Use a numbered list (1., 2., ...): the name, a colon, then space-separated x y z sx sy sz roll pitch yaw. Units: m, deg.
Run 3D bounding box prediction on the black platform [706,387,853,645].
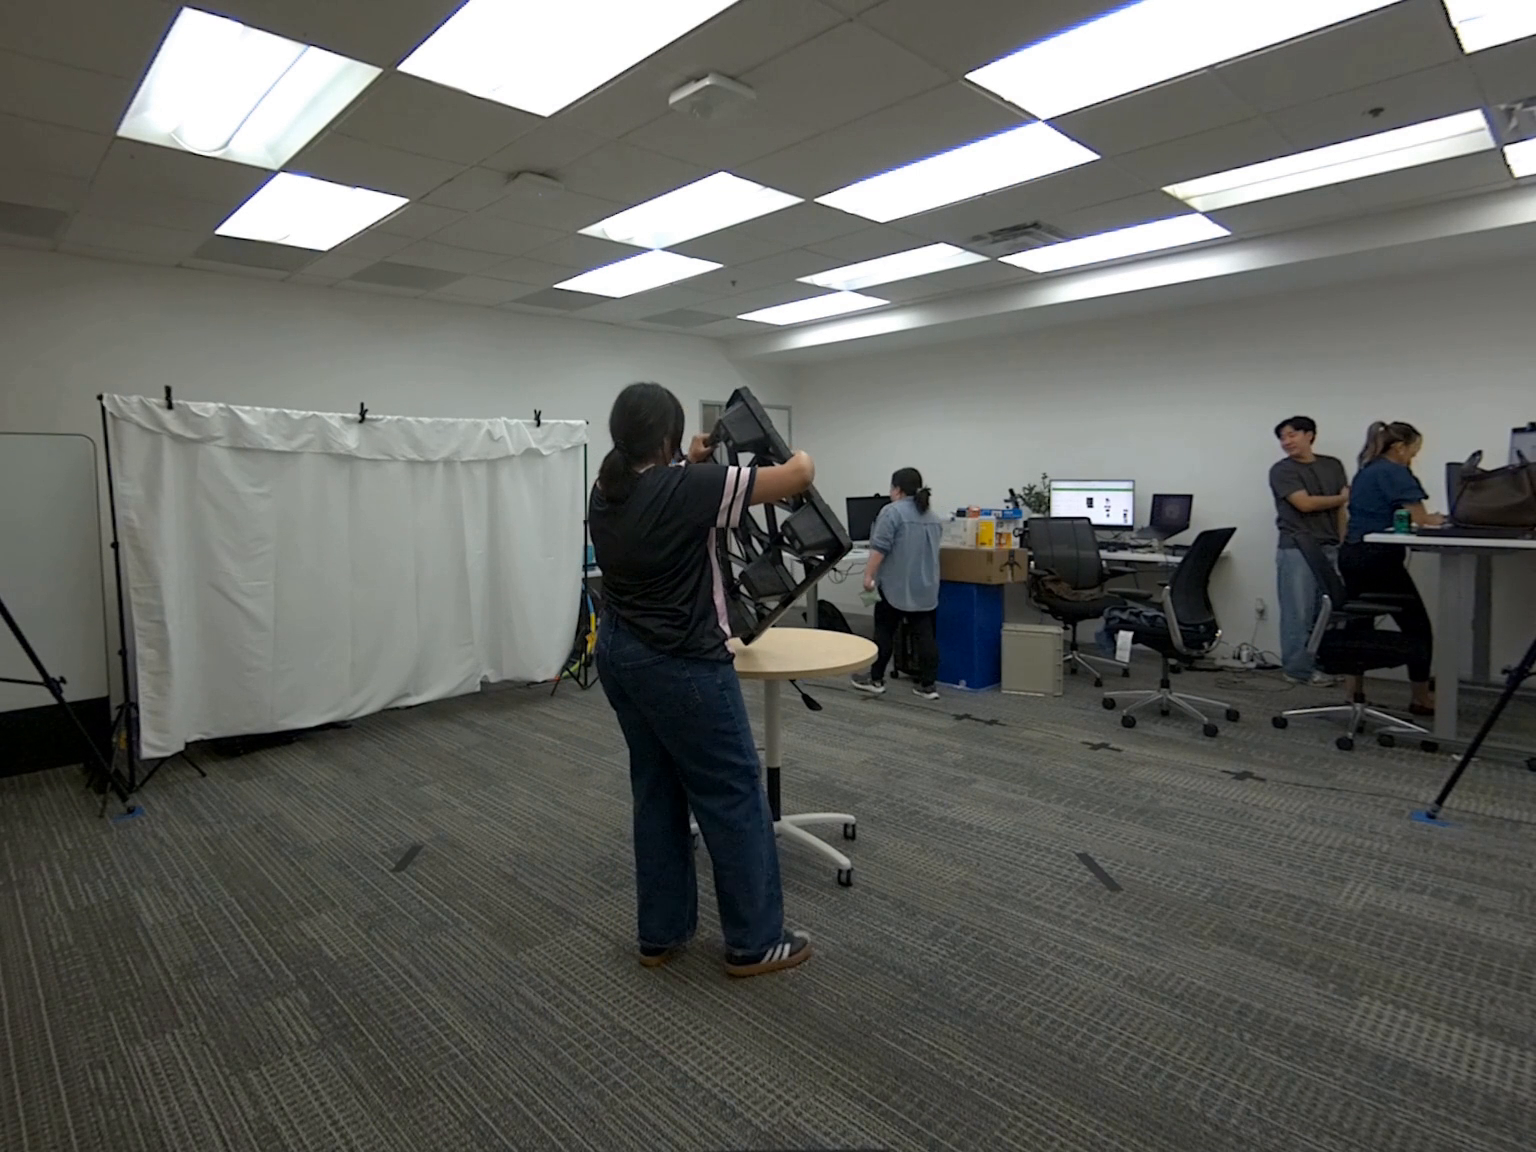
1. black platform: -0.108 -0.156 2.800 0.141 0.616 0.803 -24 -15 -32
